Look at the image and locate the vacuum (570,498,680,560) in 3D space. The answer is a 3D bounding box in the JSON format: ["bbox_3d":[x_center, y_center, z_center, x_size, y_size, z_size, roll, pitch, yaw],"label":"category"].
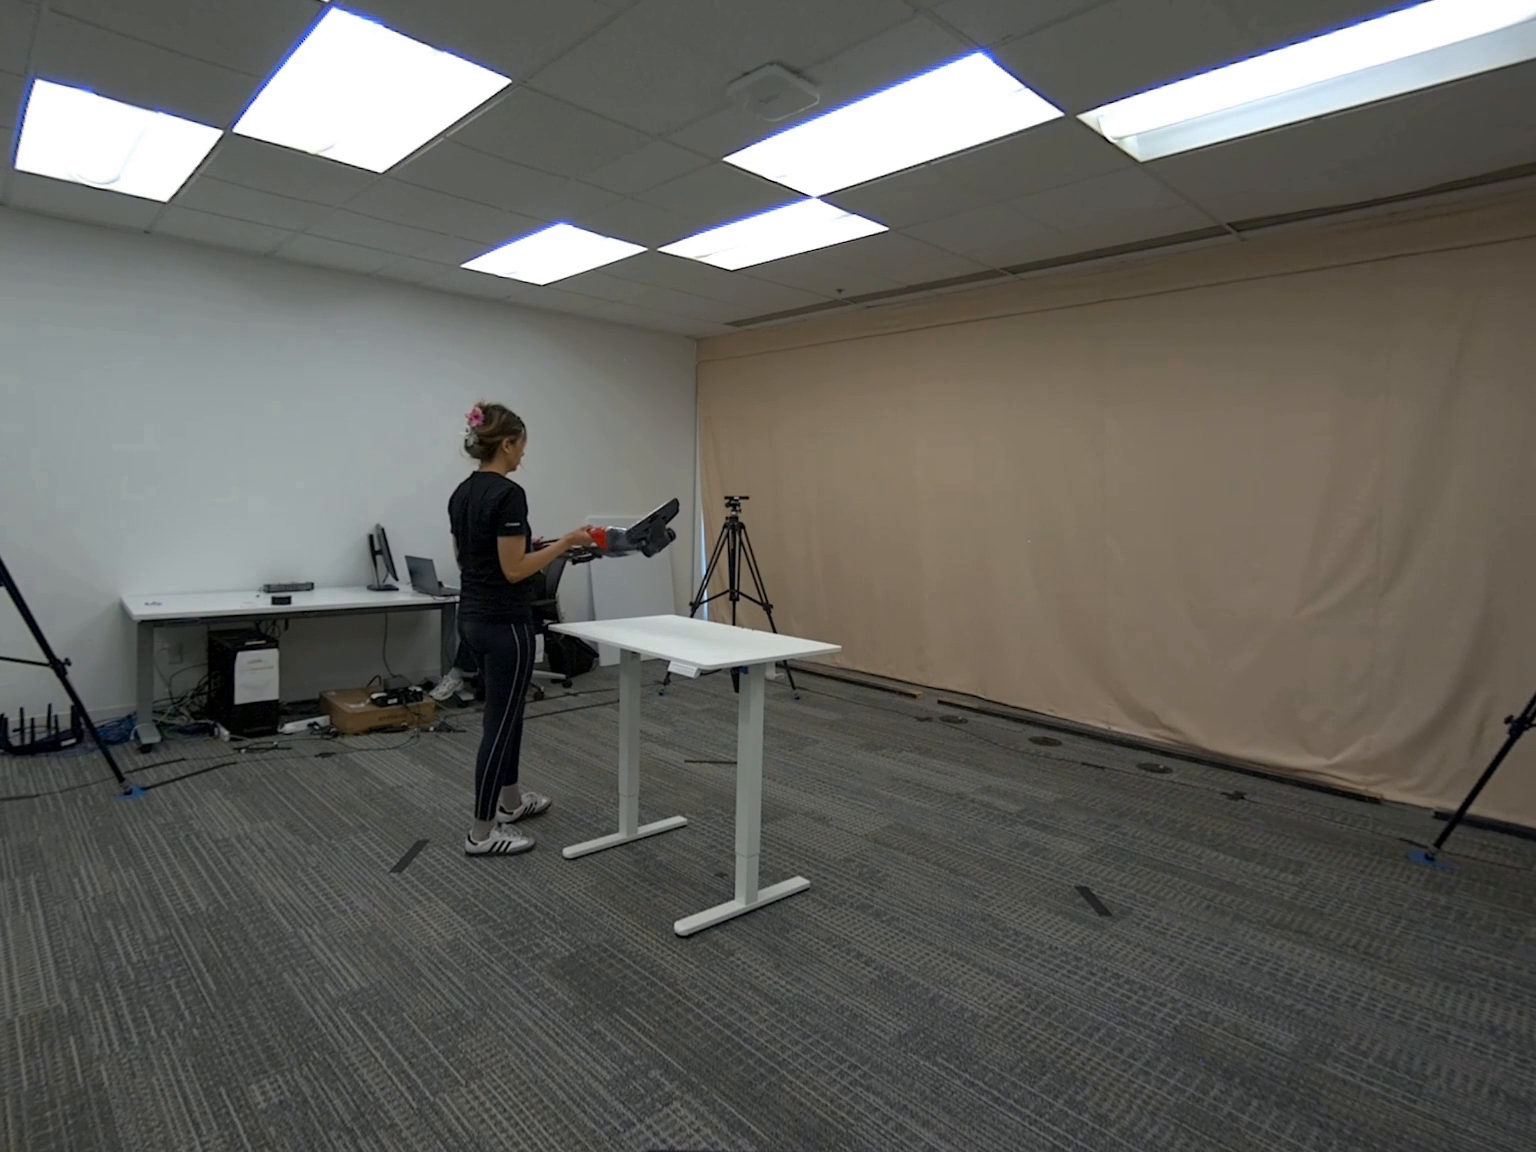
[{"bbox_3d":[-0.732,-0.124,3.332,1.071,0.142,0.251,-6,25,48],"label":"vacuum"}]
